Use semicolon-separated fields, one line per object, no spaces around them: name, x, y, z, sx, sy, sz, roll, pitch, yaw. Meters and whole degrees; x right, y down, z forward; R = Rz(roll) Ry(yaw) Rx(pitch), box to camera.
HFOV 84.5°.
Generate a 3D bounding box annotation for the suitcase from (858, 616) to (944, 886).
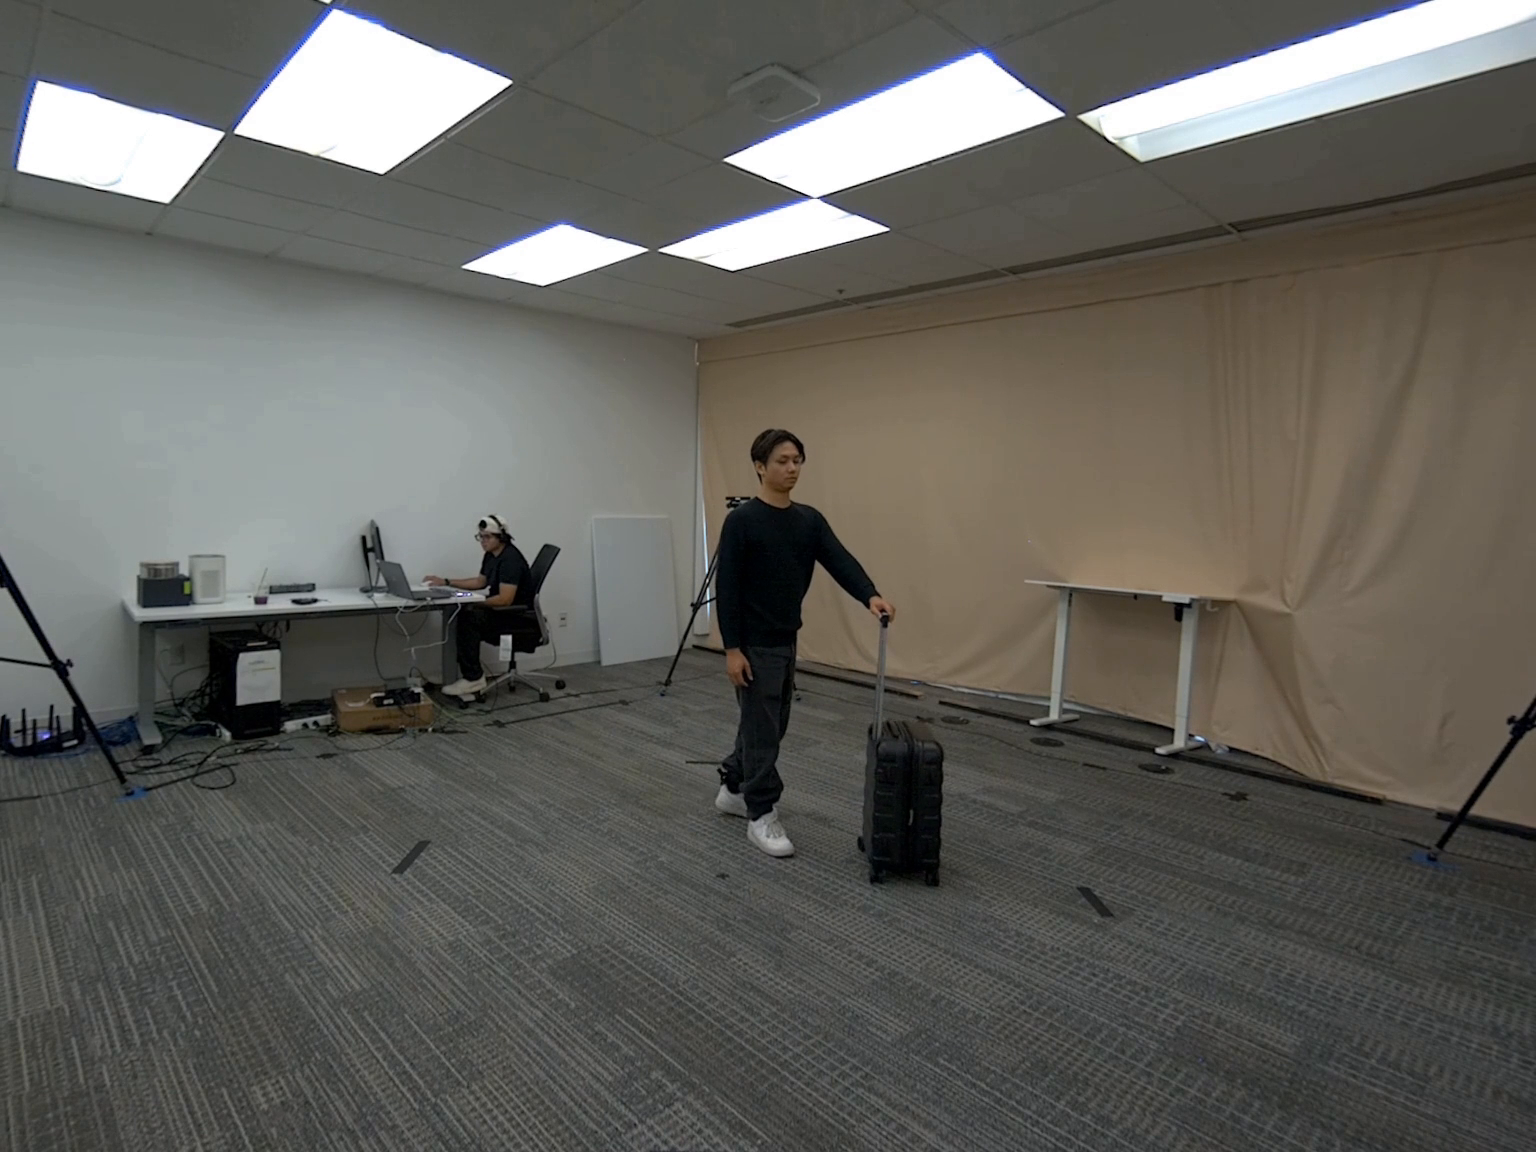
suitcase;0.511;0.638;3.174;0.258;0.975;0.384;3;4;2
